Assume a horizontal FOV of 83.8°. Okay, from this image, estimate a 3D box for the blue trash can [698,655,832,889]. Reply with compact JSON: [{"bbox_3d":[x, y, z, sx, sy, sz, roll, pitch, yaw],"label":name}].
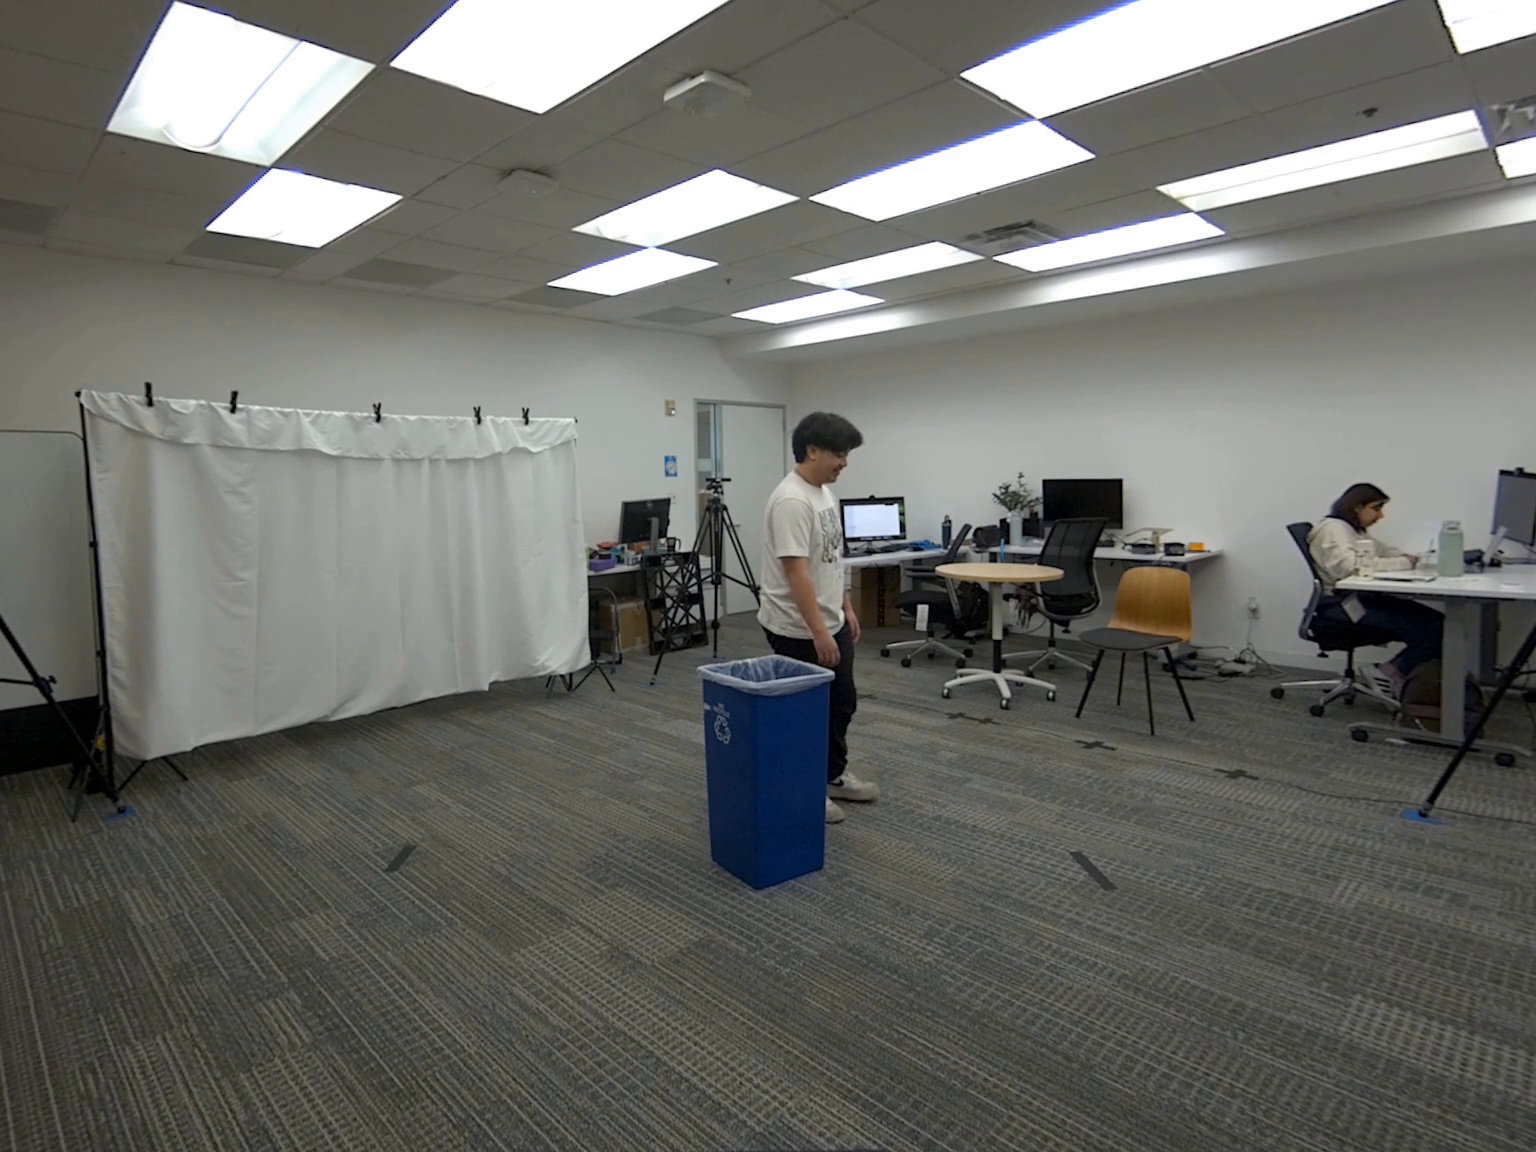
[{"bbox_3d":[-0.001,0.687,3.069,0.368,0.711,0.385,-4,5,-34],"label":"blue trash can"}]
